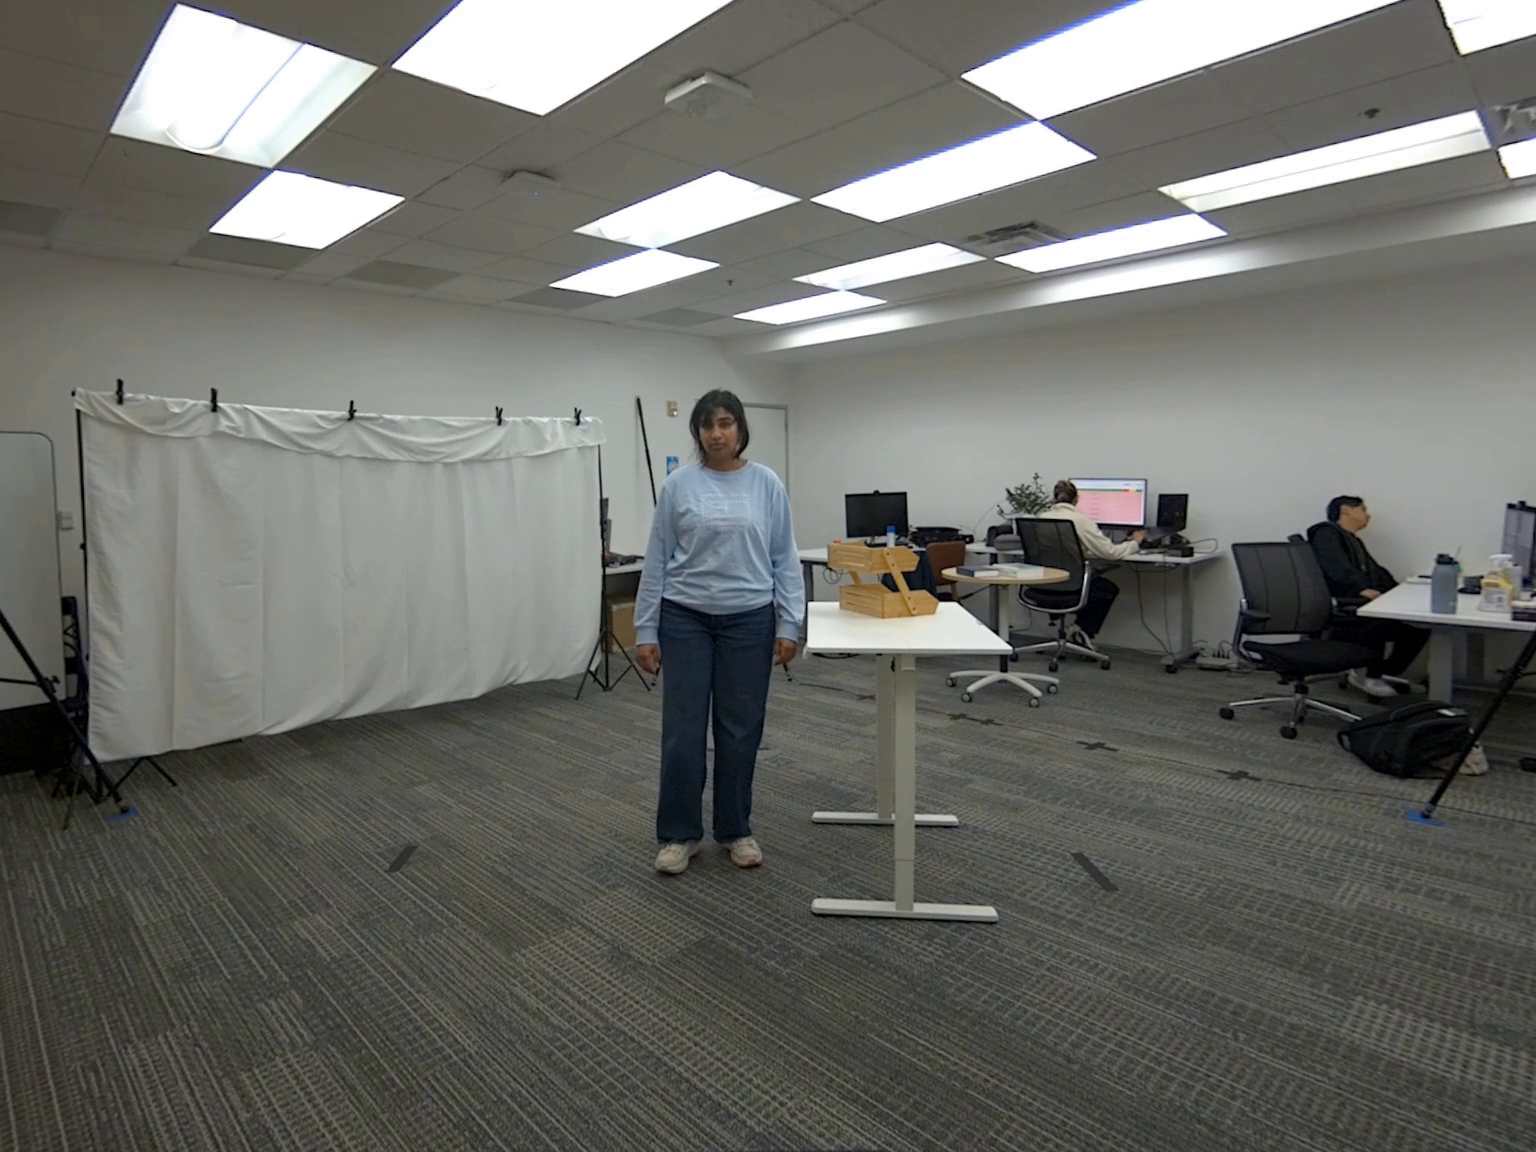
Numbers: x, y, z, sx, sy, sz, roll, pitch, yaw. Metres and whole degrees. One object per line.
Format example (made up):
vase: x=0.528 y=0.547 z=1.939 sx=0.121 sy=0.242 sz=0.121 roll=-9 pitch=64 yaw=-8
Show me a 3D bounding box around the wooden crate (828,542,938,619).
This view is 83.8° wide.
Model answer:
wooden crate: x=0.444 y=0.005 z=3.271 sx=0.296 sy=0.272 sz=0.333 roll=-4 pitch=6 yaw=-26
